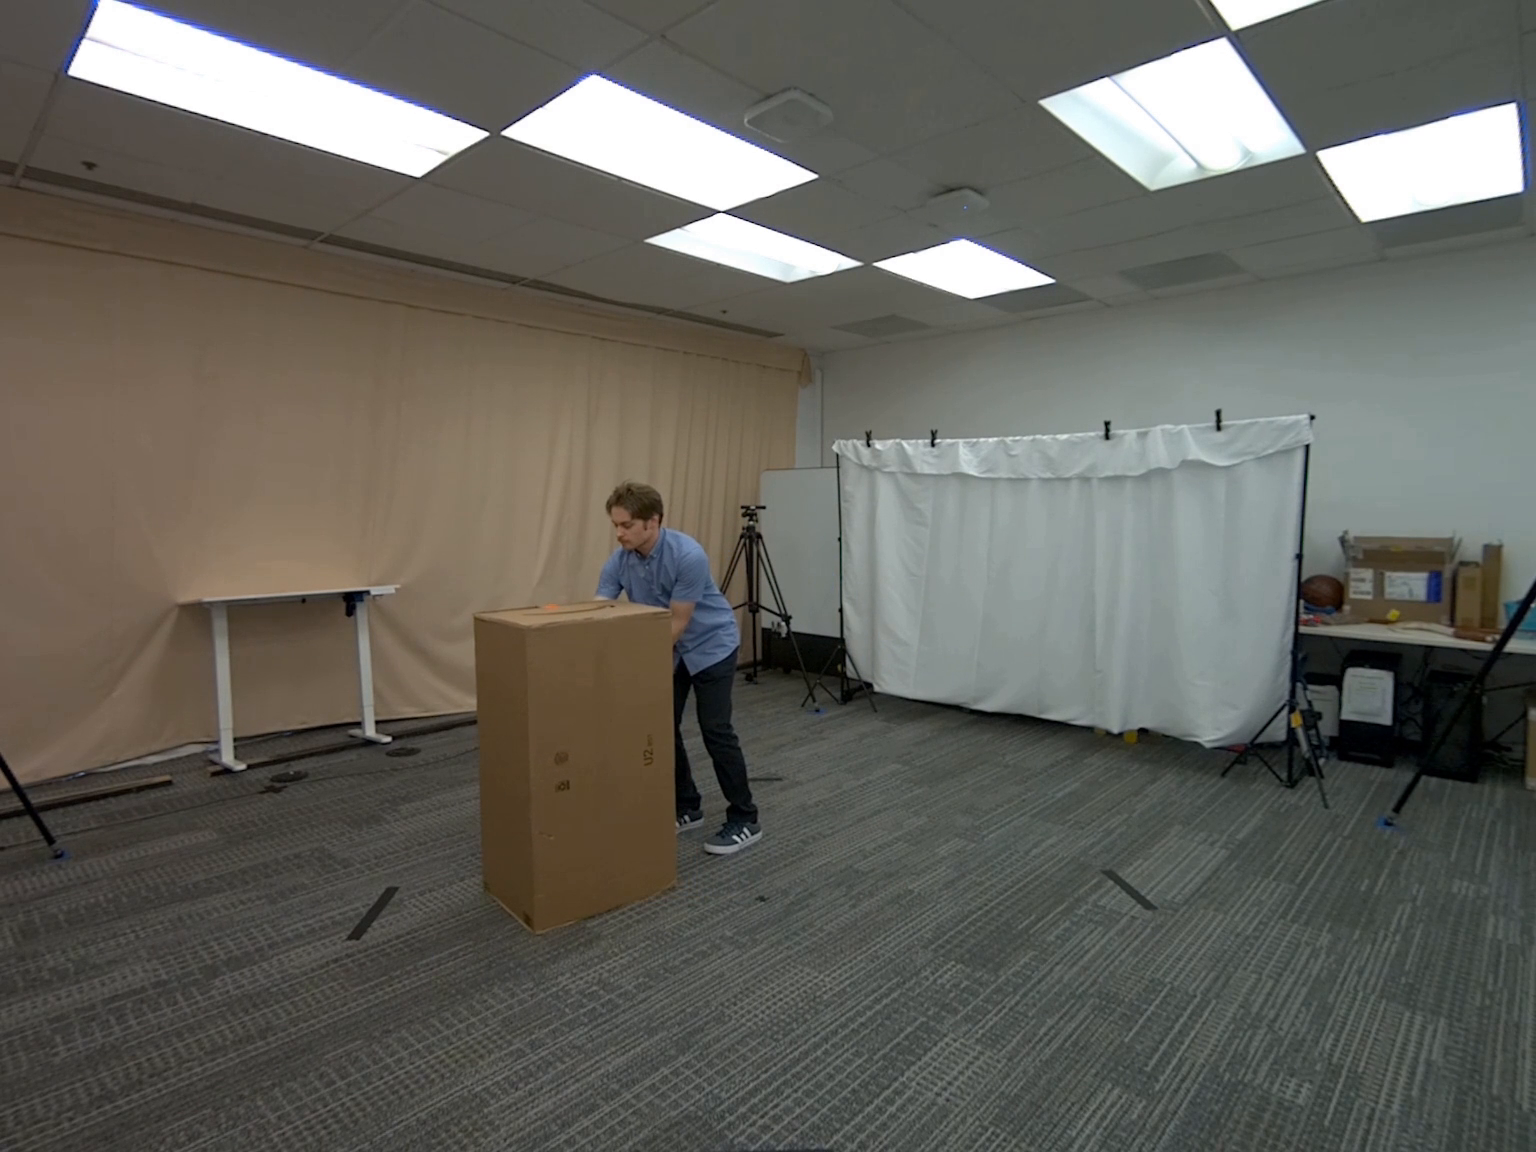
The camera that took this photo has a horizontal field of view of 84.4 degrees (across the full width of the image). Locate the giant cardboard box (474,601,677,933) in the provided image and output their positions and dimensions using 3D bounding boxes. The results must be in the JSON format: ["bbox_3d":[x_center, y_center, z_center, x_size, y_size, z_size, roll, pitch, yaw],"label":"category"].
[{"bbox_3d":[-0.693,0.637,3.040,0.560,1.023,0.440,-4,5,-39],"label":"giant cardboard box"}]
